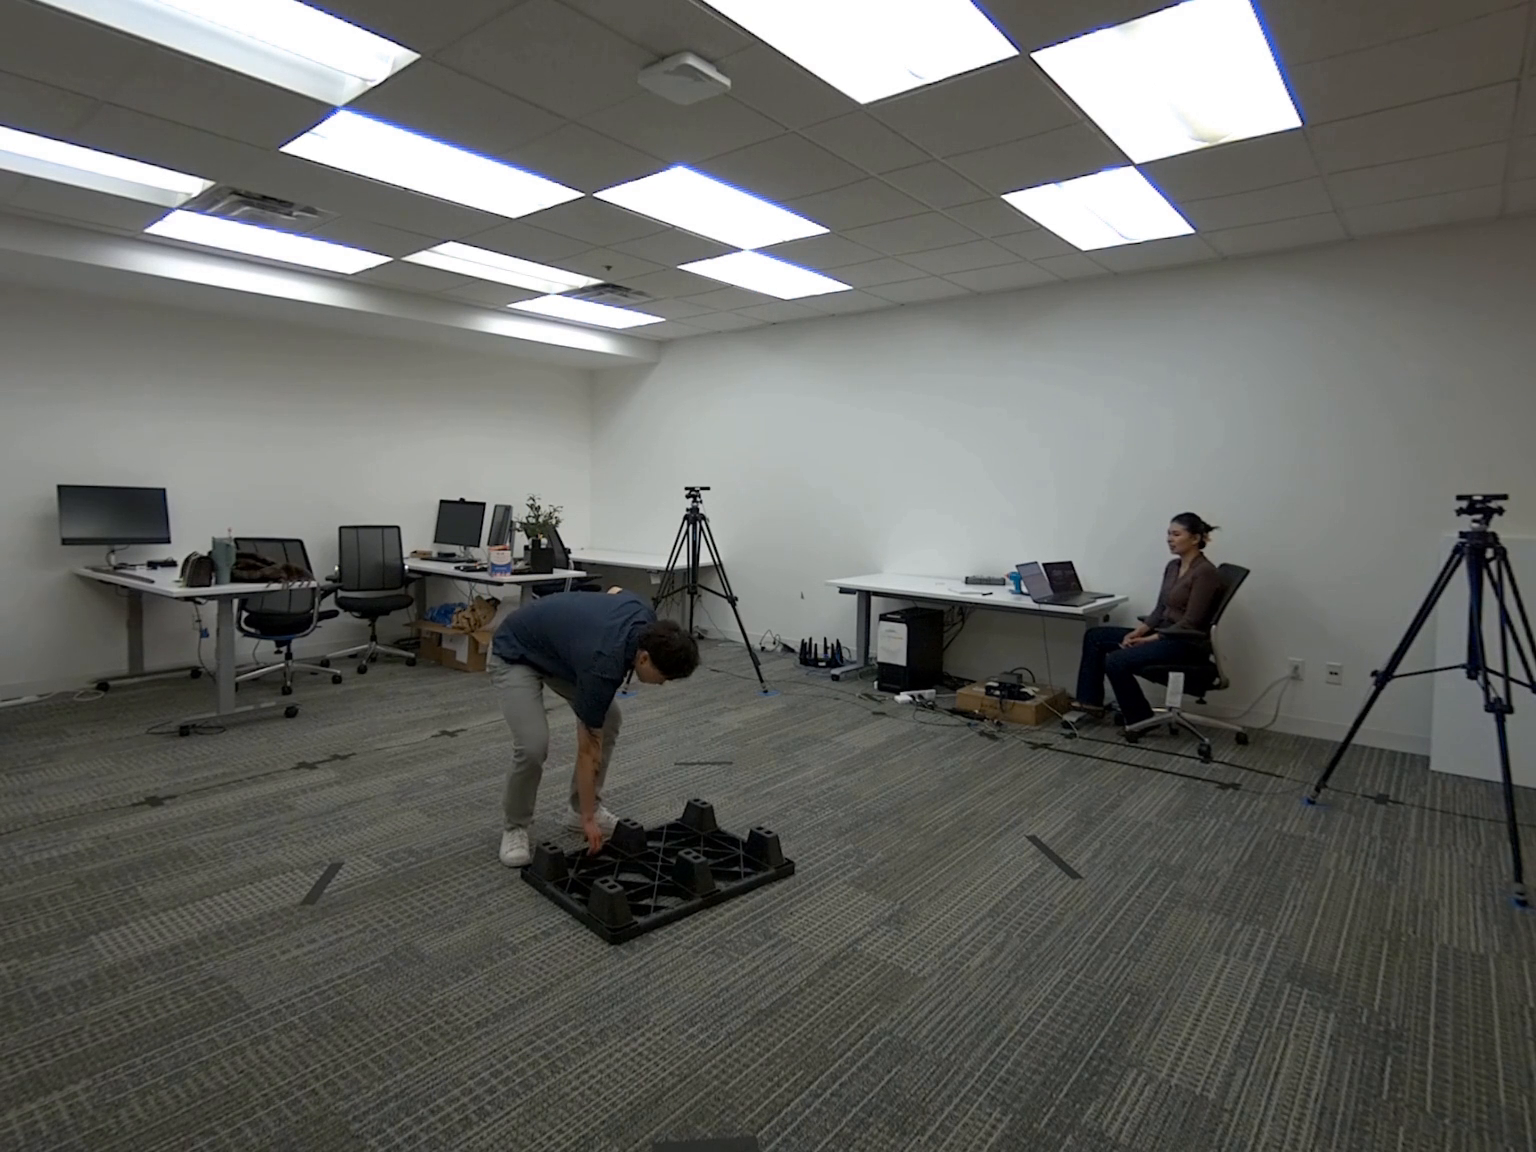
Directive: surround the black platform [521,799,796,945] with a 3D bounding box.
[{"bbox_3d":[-0.397,1.003,3.047,0.781,0.143,0.626,-4,8,-43],"label":"black platform"}]
